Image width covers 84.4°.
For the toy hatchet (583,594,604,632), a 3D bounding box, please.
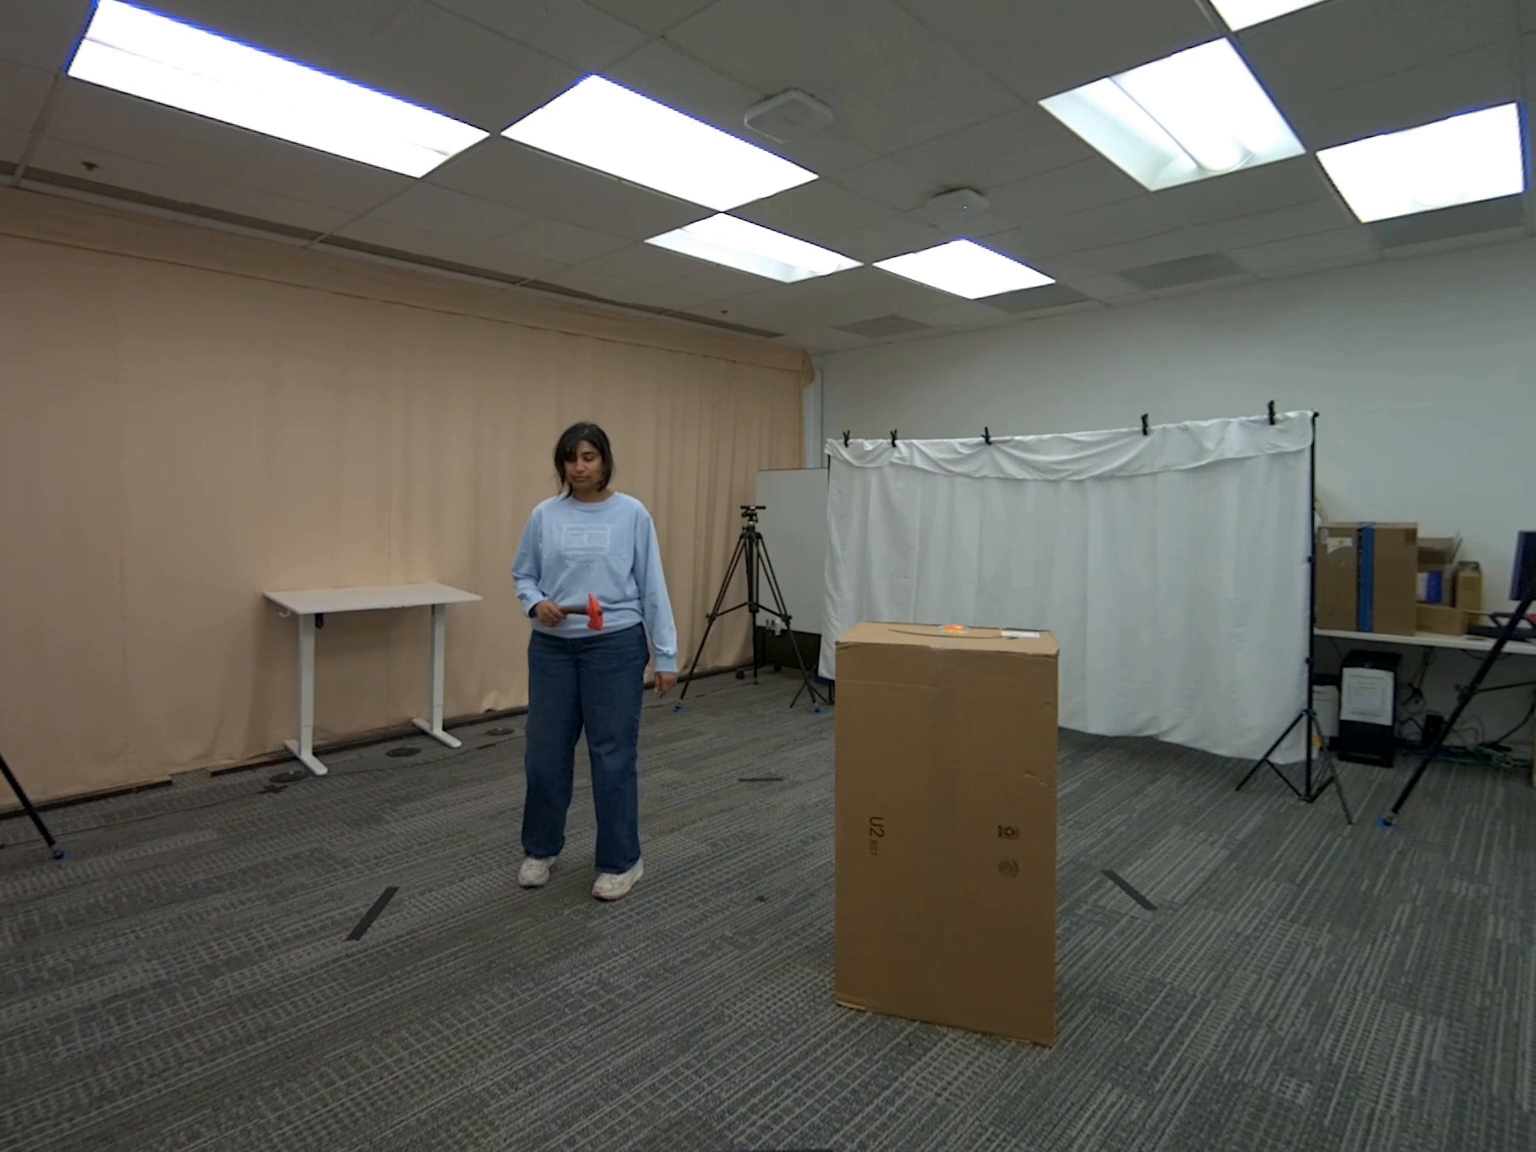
[{"bbox_3d":[-0.664,0.150,2.875,0.275,0.131,0.029,-27,4,46],"label":"toy hatchet"}]
